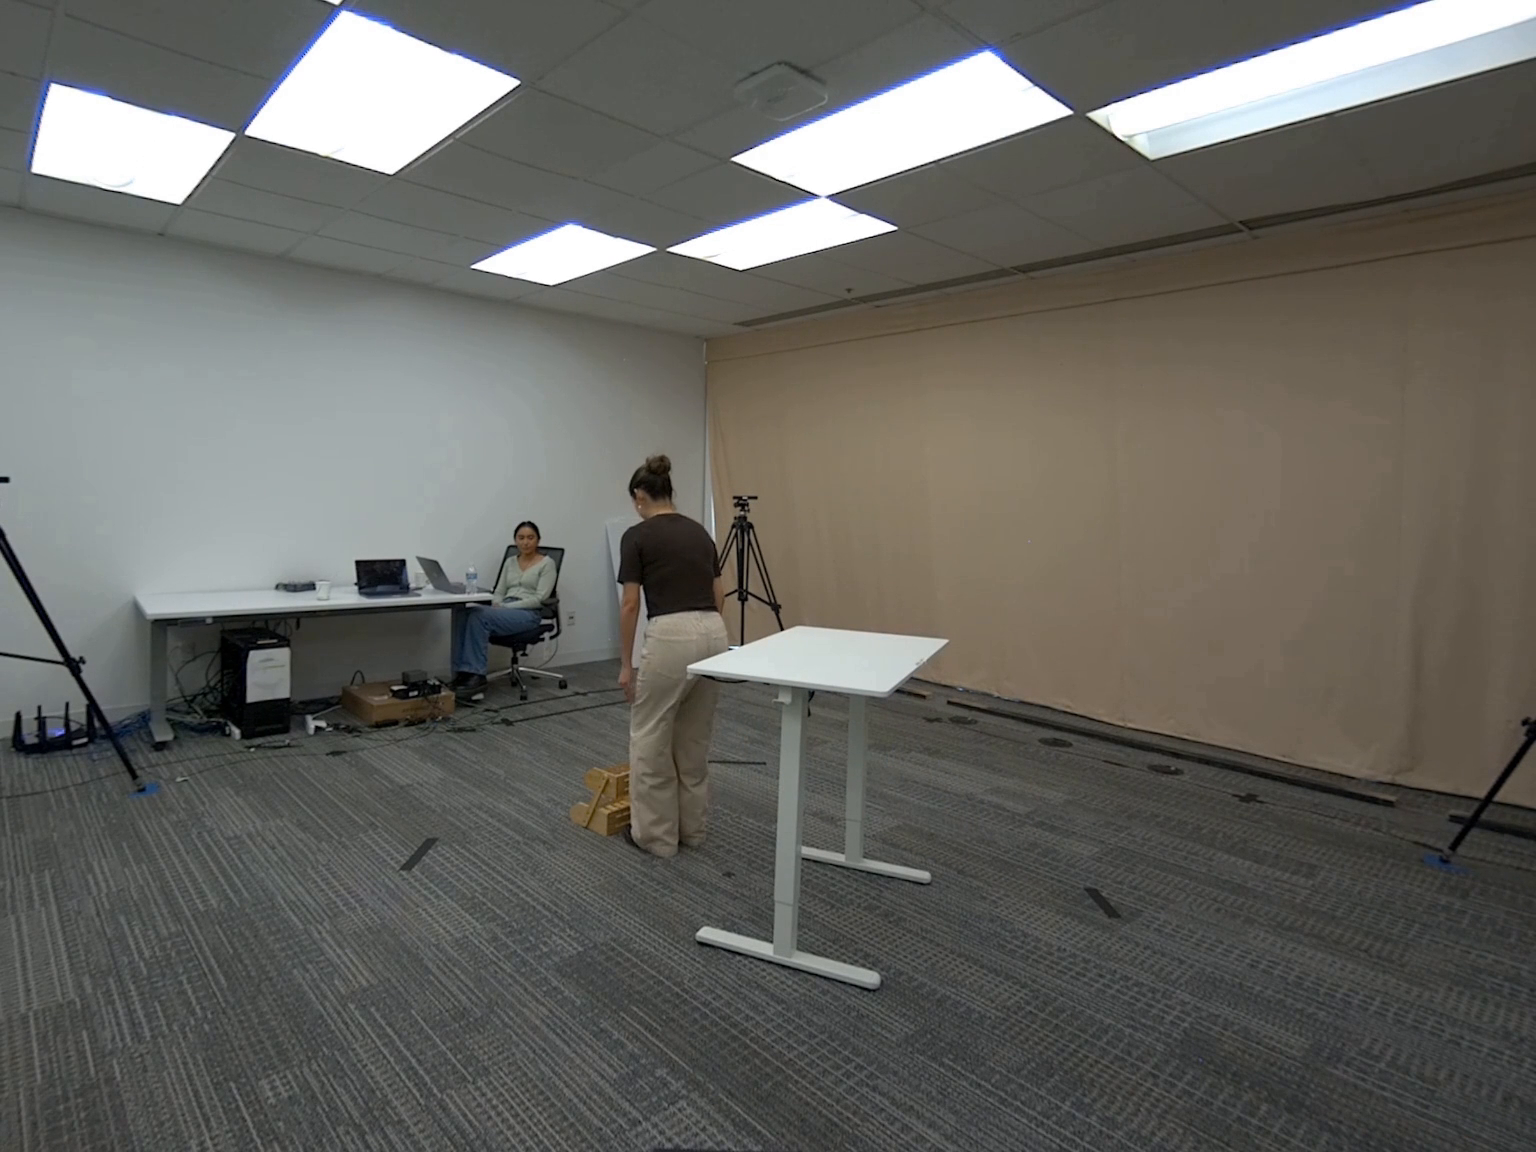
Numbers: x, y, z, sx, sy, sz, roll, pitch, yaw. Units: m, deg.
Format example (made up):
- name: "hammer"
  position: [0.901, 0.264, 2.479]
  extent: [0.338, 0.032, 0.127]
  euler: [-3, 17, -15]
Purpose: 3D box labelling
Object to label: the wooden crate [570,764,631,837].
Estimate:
- name: "wooden crate"
  position: [-0.644, 0.916, 3.603]
  extent: [0.310, 0.272, 0.317]
  euler: [6, 6, 40]
